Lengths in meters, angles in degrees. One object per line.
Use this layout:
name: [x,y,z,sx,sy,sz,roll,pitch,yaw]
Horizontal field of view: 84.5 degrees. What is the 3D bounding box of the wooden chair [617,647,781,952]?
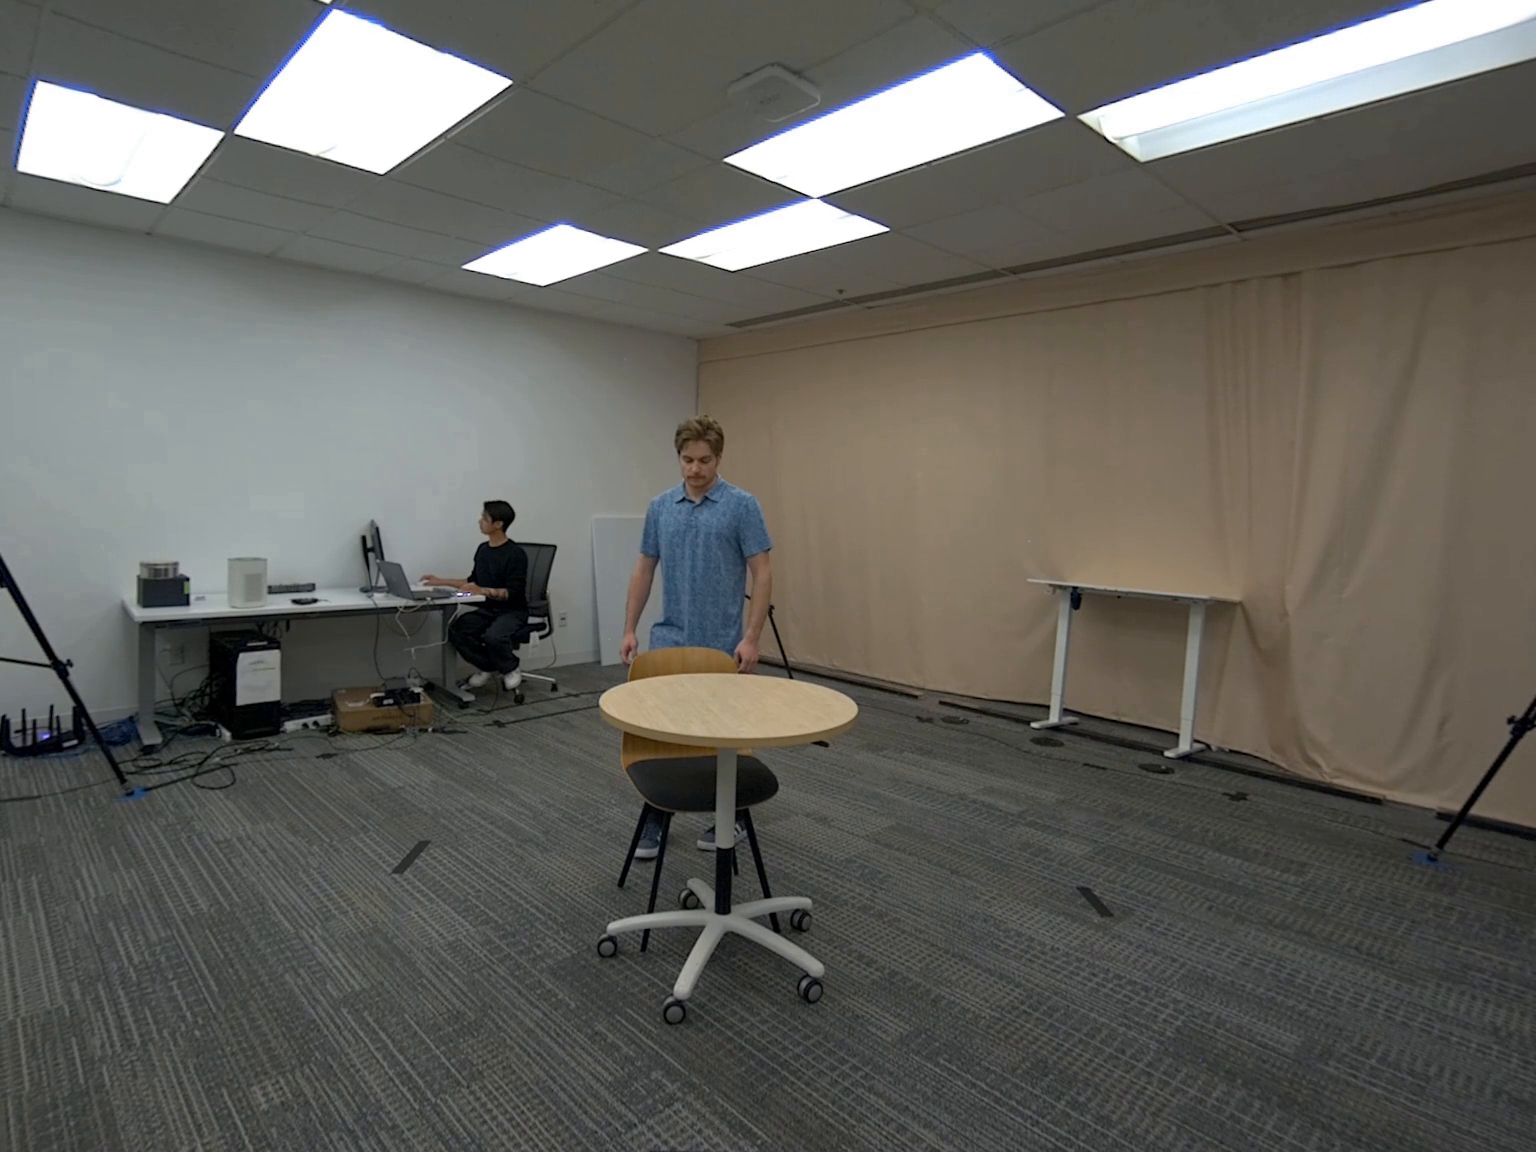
wooden chair: [-0.246,0.702,2.811,0.471,0.878,0.530,1,-1,-19]
